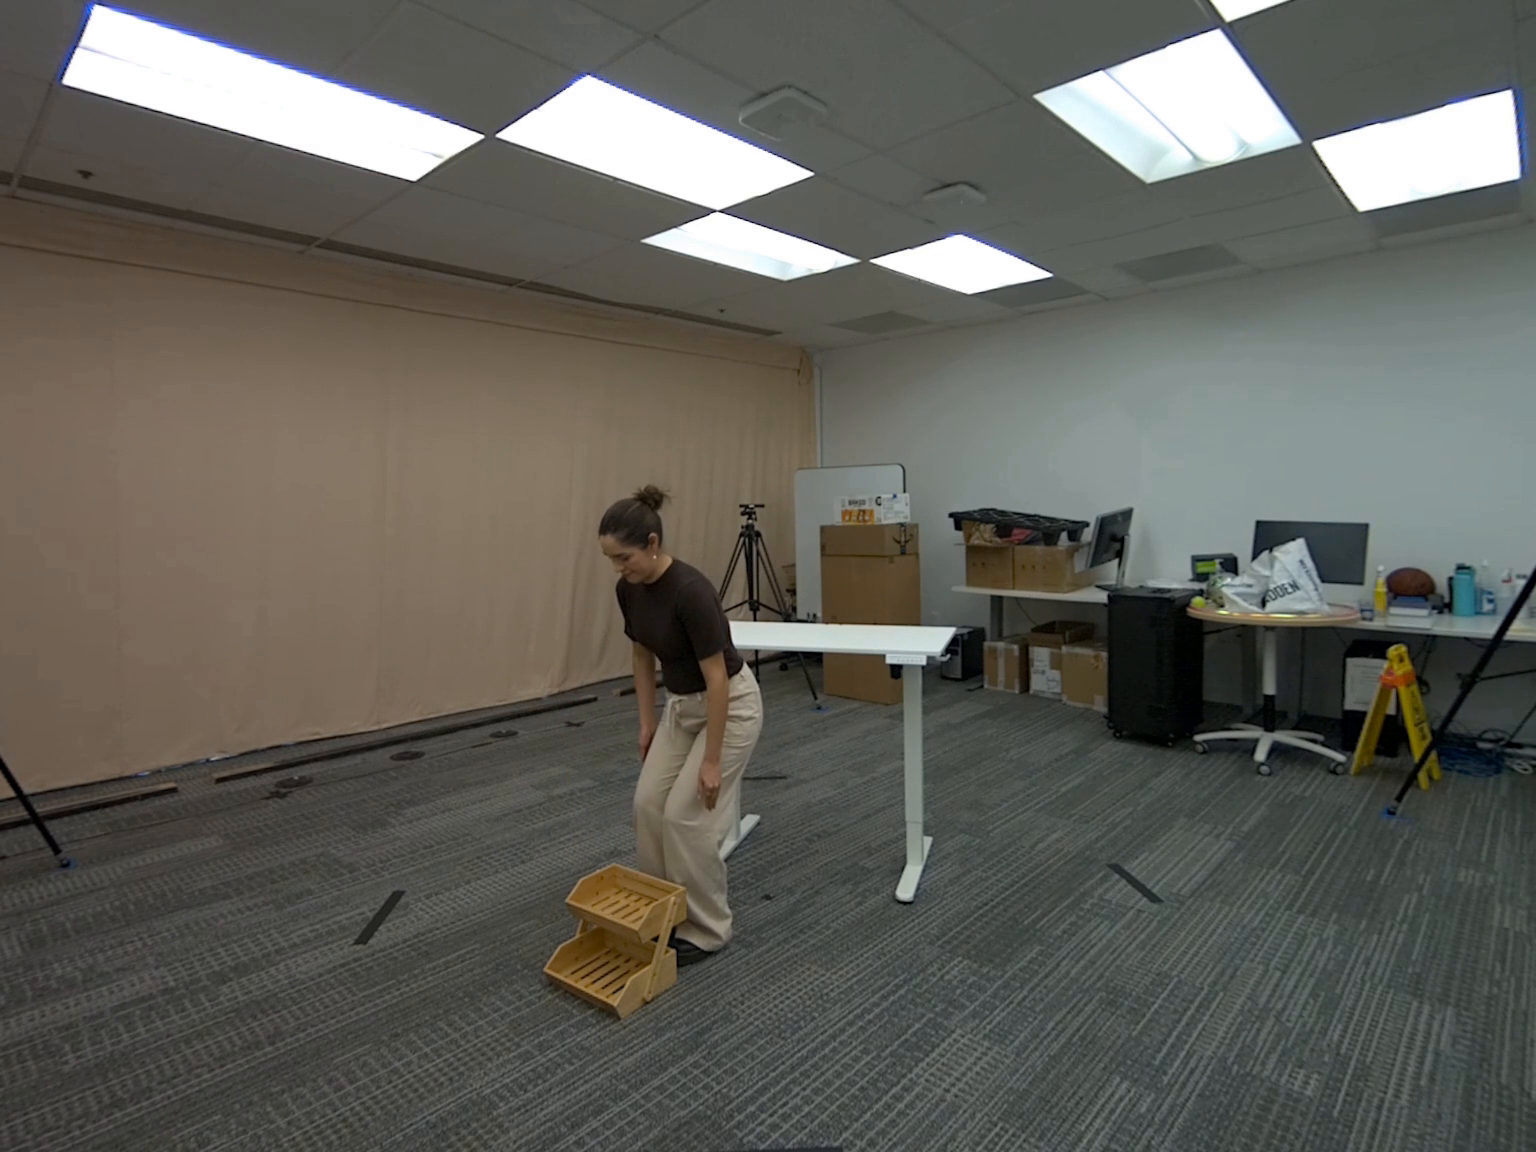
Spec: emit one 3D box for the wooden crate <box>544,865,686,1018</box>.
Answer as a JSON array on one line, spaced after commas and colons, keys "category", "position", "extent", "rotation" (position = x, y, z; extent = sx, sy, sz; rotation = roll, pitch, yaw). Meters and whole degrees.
[{"category": "wooden crate", "position": [-0.452, 1.061, 2.476], "extent": [0.335, 0.273, 0.293], "rotation": [2, 4, 37]}]
